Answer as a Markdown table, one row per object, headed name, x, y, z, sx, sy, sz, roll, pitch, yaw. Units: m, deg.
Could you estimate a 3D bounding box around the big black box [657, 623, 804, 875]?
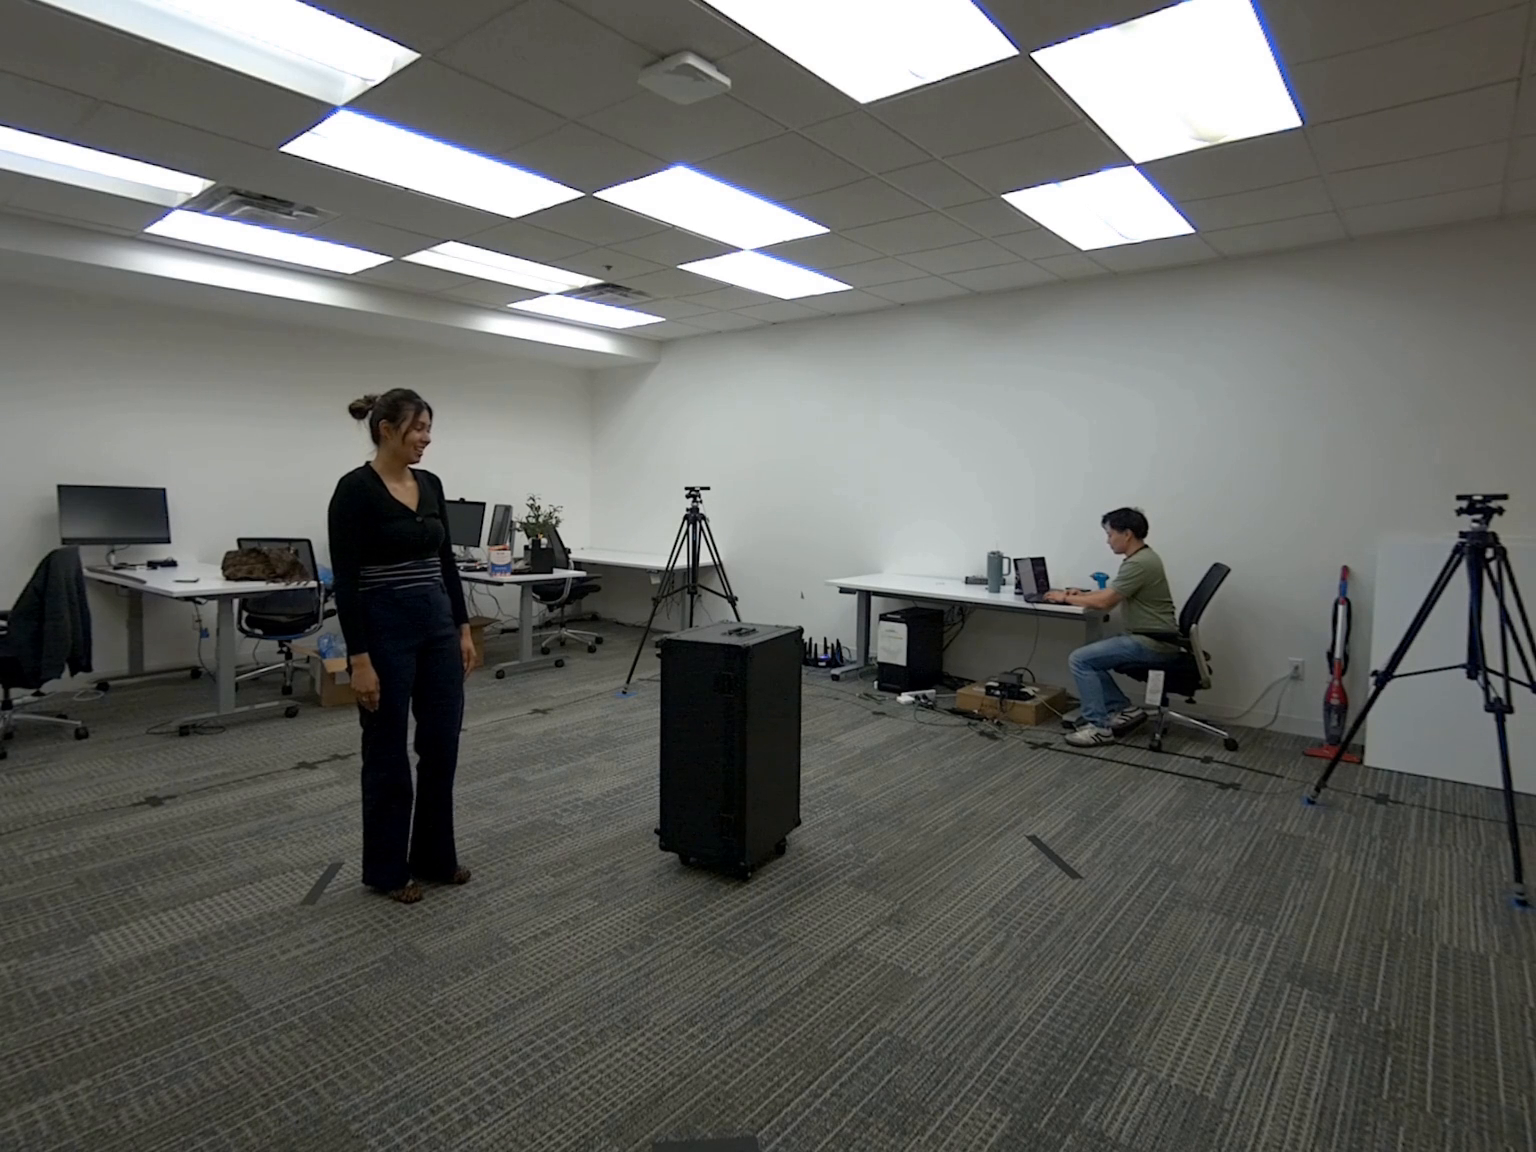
| name | x | y | z | sx | sy | sz | roll | pitch | yaw |
| --- | --- | --- | --- | --- | --- | --- | --- | --- | --- |
| big black box | -0.151 | 0.633 | 3.201 | 0.407 | 0.859 | 0.509 | 1 | 3 | 27 |
